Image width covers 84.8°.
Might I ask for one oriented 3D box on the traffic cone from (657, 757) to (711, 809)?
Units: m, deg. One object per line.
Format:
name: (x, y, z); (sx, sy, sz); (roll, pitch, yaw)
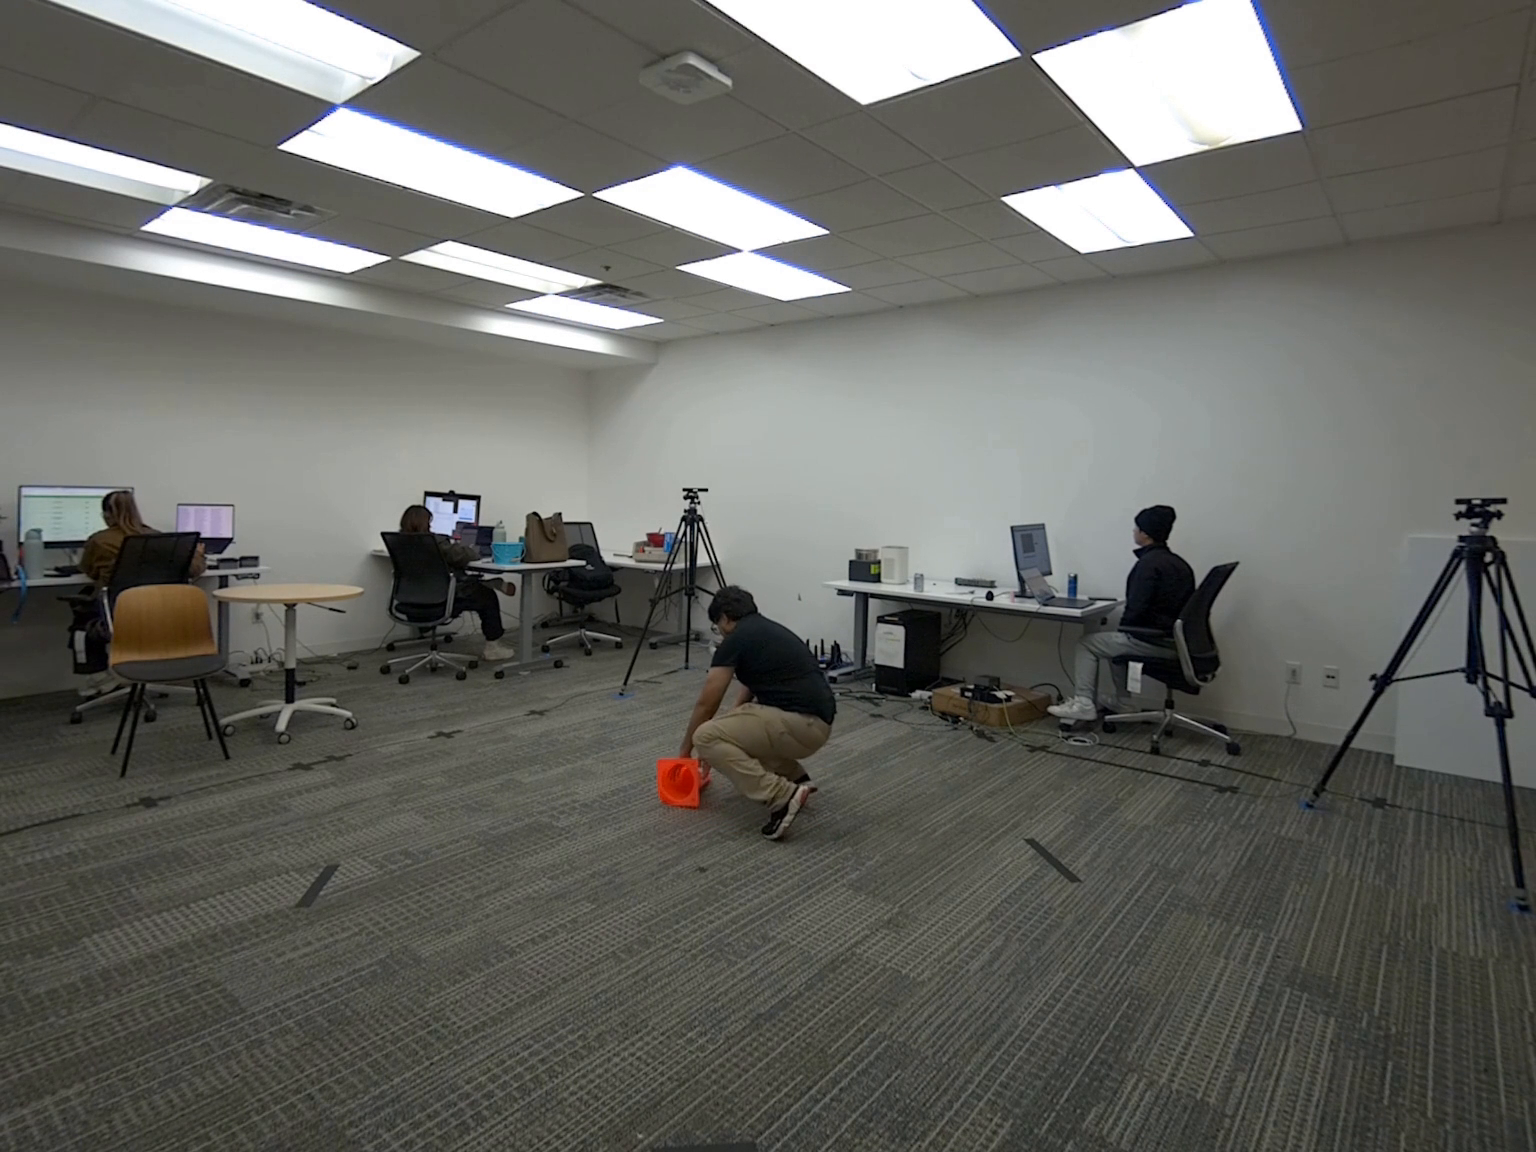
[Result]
traffic cone: (-0.352, 0.931, 3.922); (0.207, 0.207, 0.373); (-4, -9, 18)
